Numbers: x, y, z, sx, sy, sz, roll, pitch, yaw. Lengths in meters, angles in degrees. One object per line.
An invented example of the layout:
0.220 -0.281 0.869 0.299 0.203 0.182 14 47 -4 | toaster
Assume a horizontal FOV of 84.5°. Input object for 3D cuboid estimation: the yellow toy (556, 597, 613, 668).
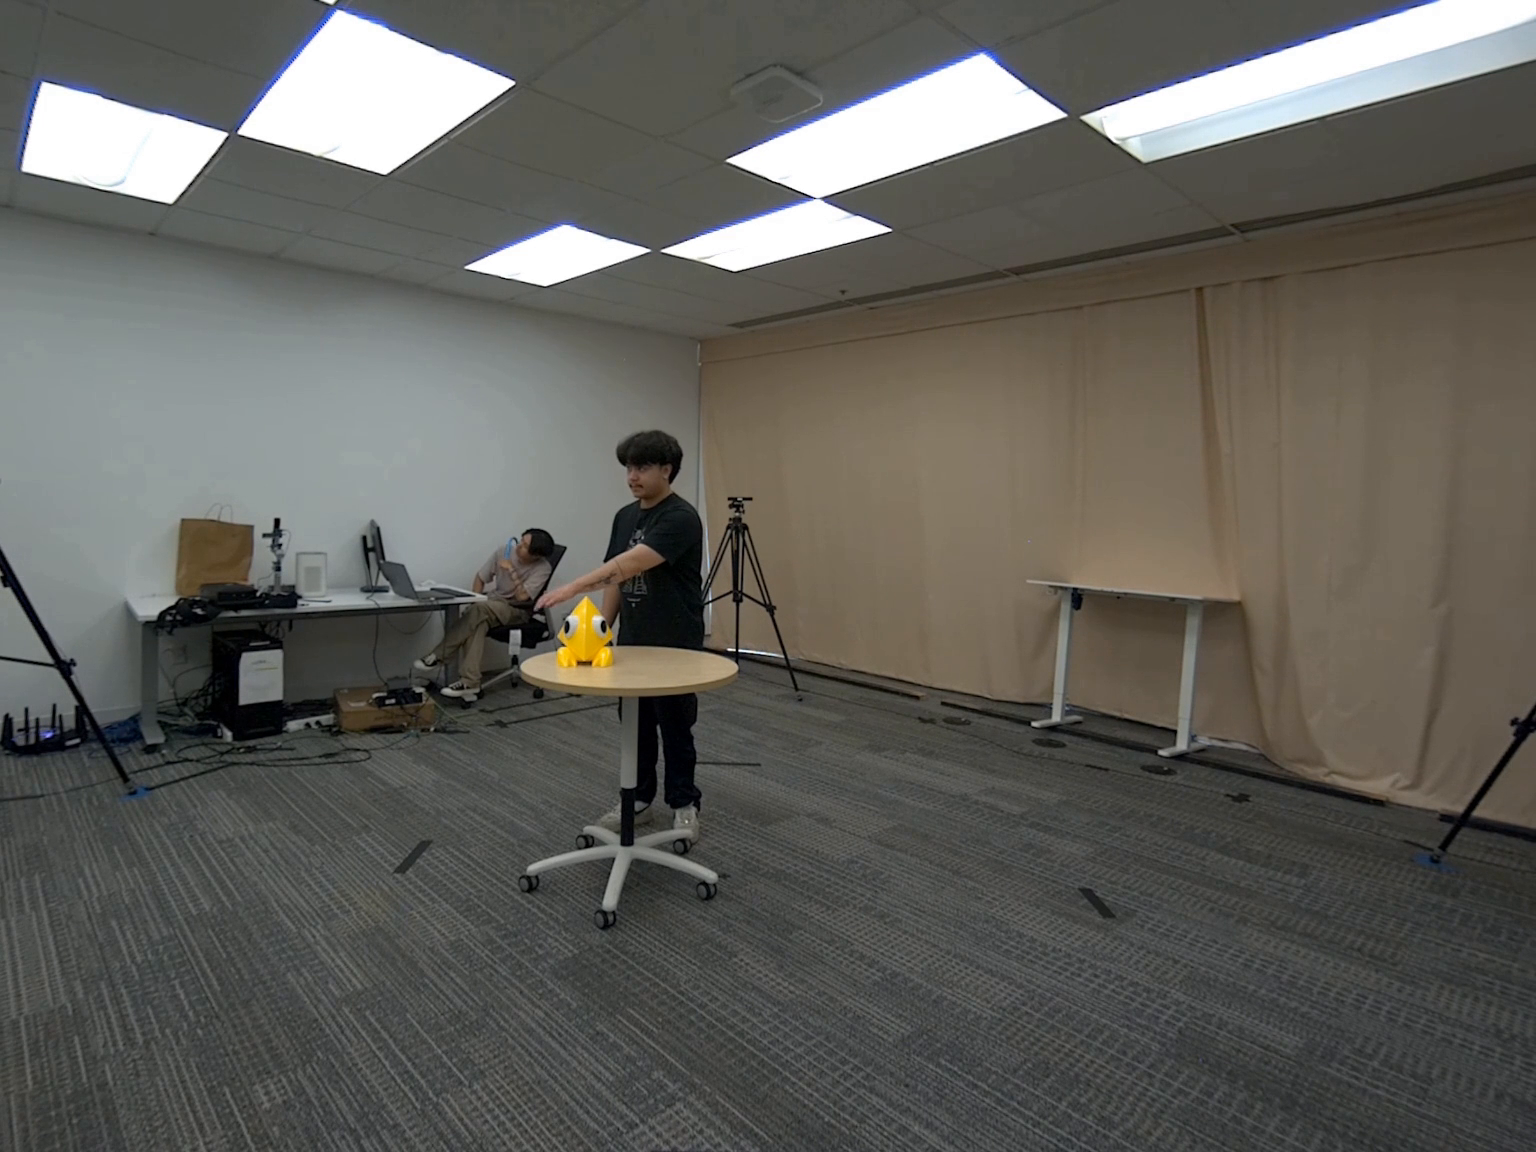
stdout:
-0.661 0.196 3.008 0.203 0.230 0.195 1 4 -9 | yellow toy
